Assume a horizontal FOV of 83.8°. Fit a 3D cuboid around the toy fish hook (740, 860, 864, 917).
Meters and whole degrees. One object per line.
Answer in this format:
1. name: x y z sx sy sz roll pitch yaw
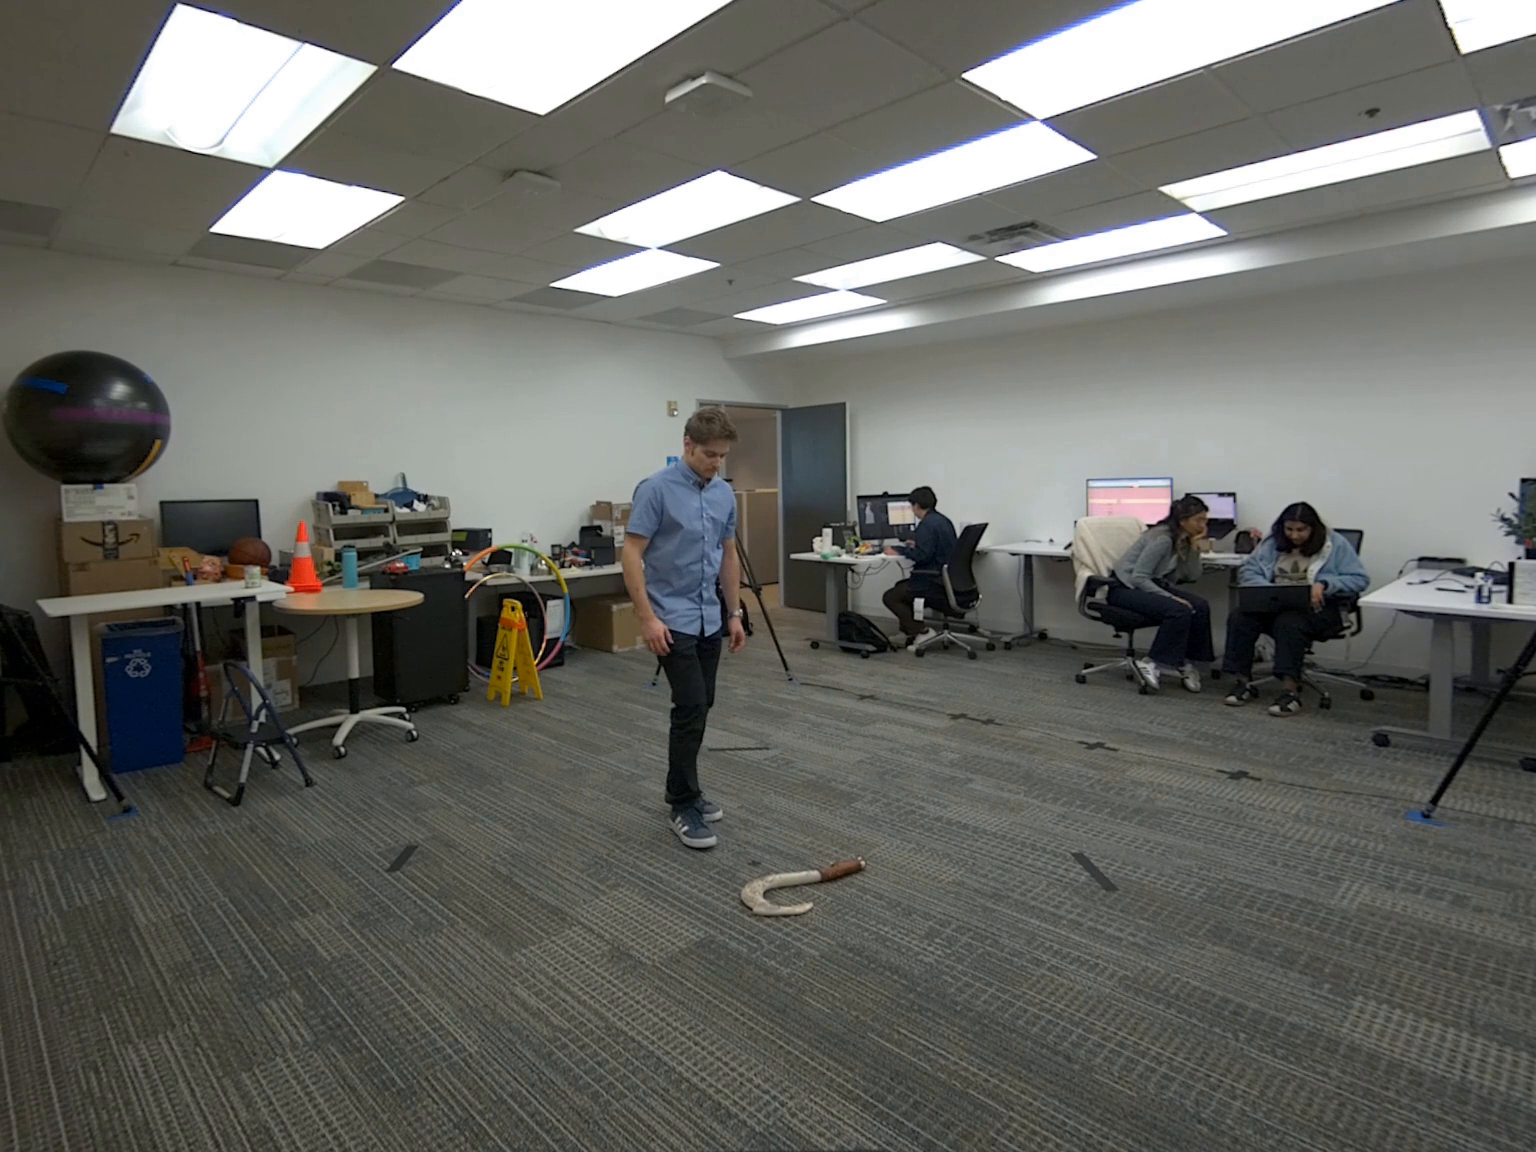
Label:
1. toy fish hook: 0.157 1.053 2.885 0.495 0.048 0.232 -6 16 -28
